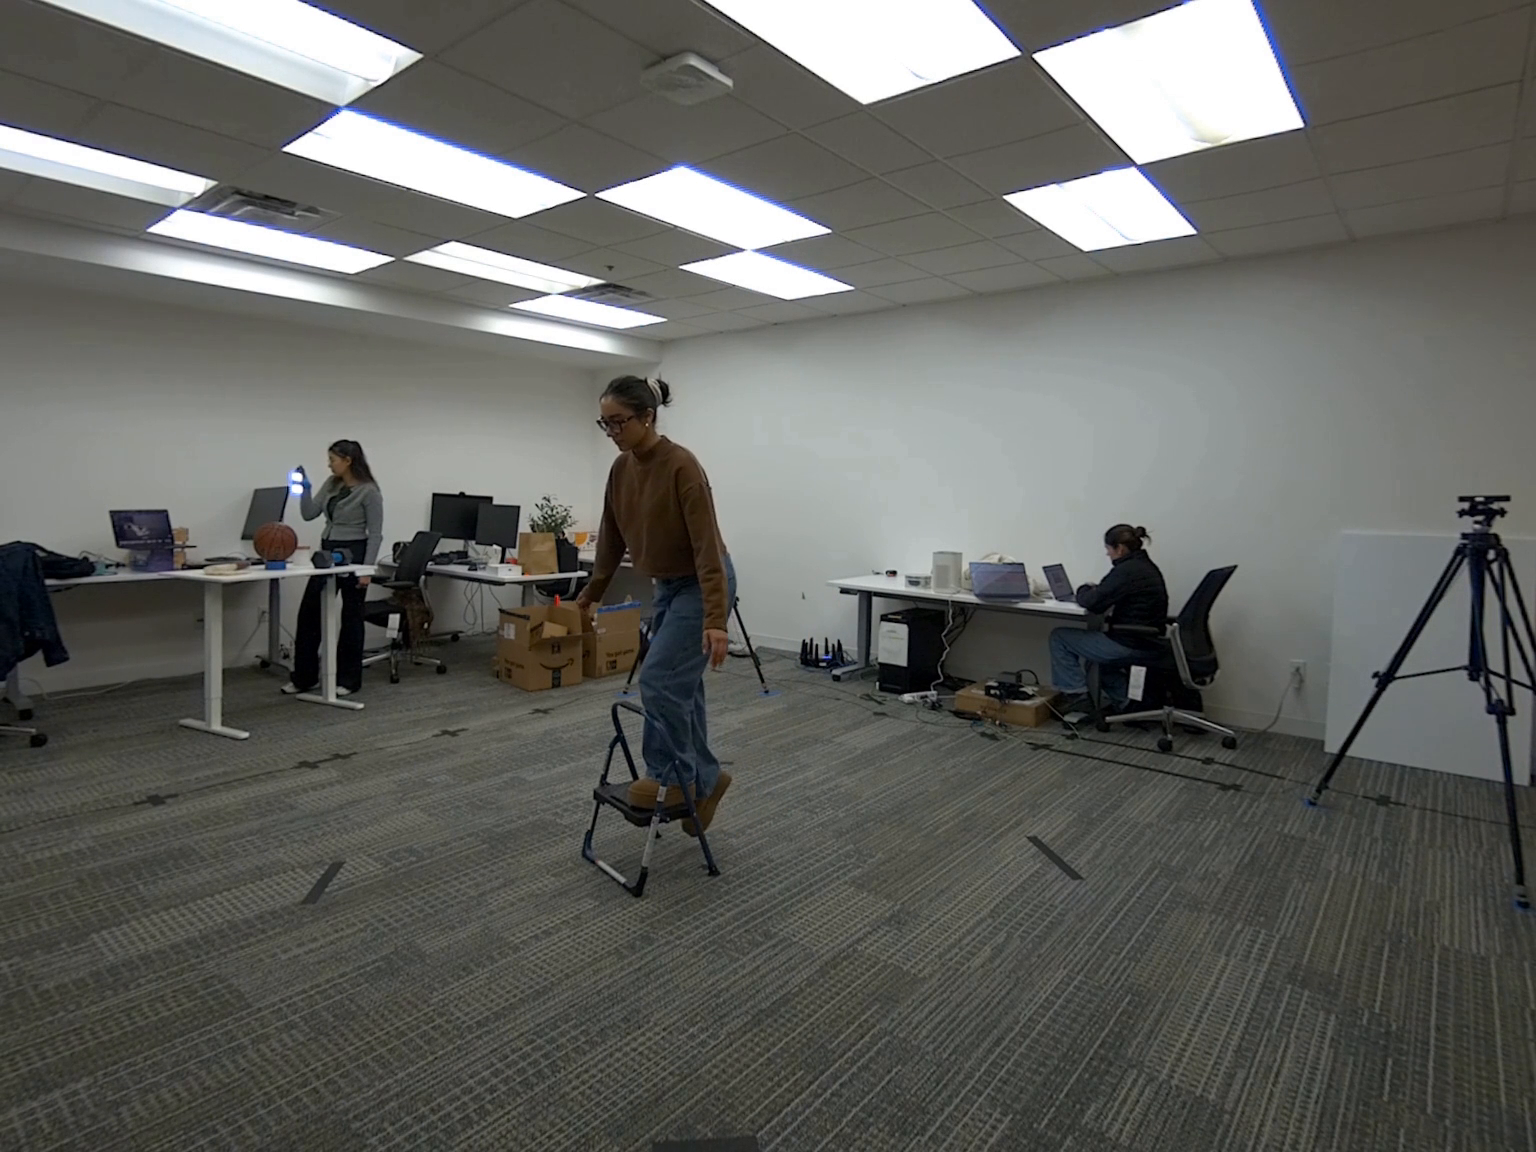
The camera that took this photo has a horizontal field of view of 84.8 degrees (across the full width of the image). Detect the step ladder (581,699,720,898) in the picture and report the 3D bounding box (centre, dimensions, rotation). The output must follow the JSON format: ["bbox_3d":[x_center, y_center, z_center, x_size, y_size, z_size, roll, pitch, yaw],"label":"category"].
[{"bbox_3d":[-0.447,0.760,3.120,0.339,0.604,0.445,-2,4,-39],"label":"step ladder"}]
